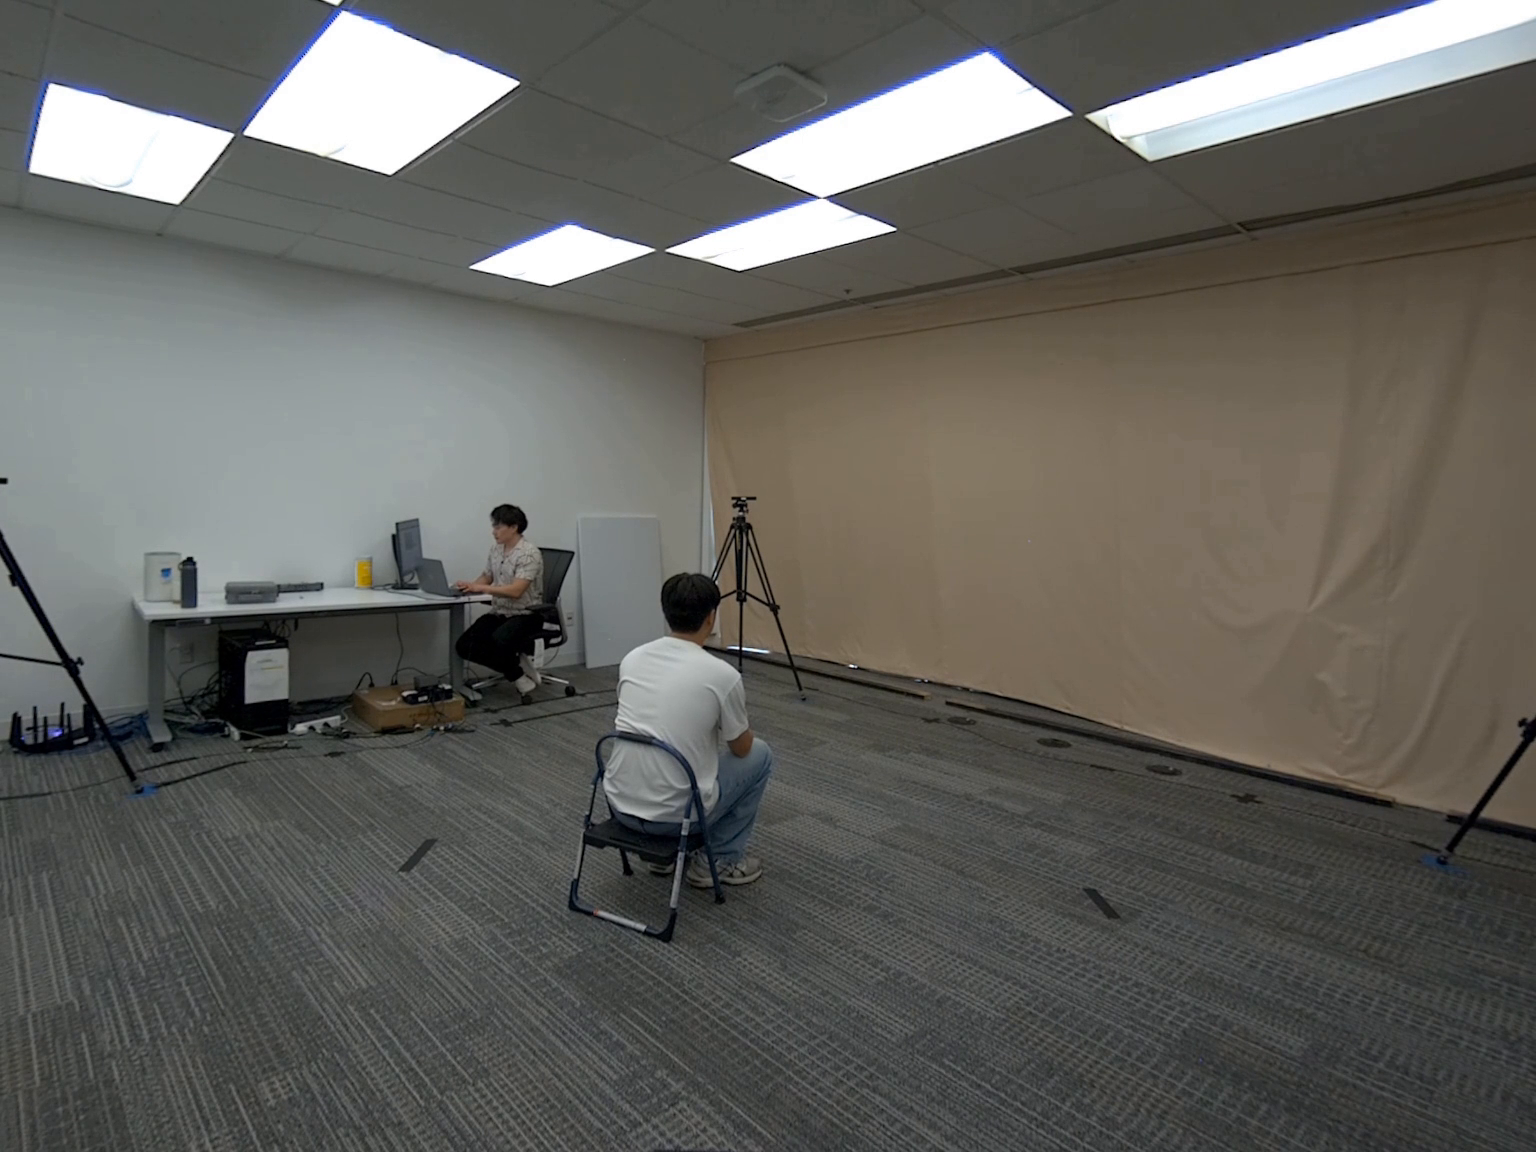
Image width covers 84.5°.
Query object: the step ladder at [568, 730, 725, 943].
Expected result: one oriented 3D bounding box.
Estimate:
[{"bbox_3d":[-0.418,0.825,2.849,0.440,0.604,0.343,3,4,29],"label":"step ladder"}]
